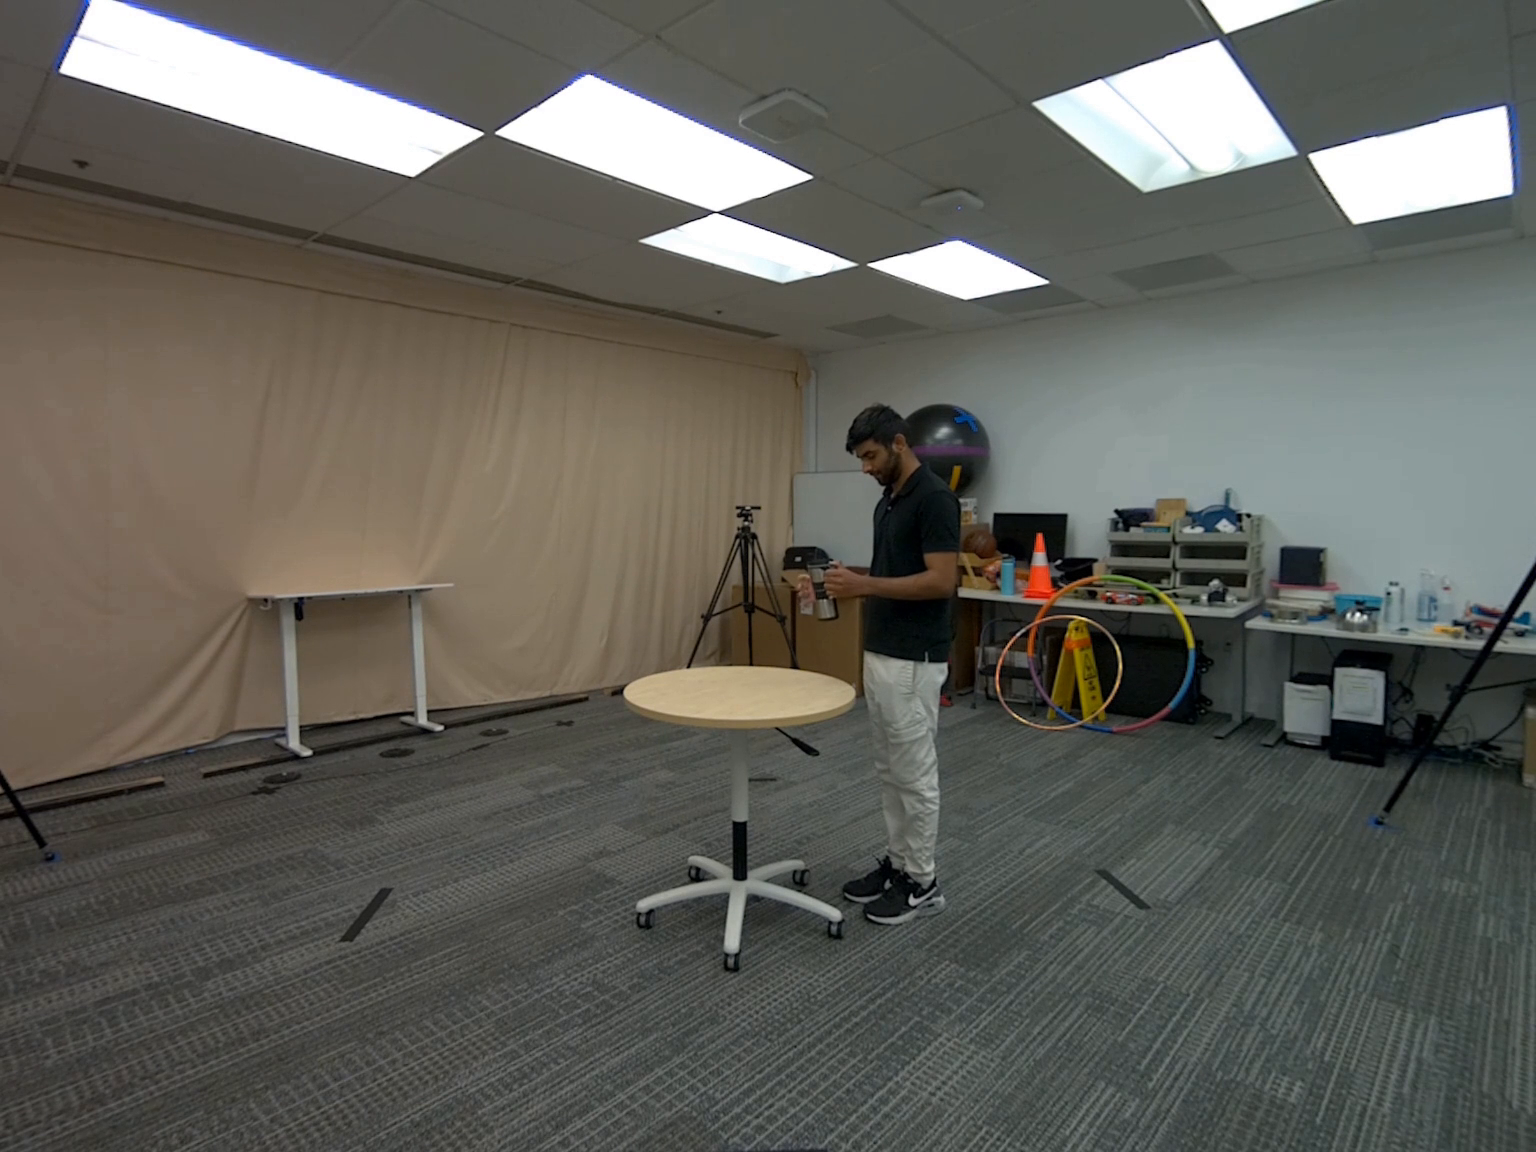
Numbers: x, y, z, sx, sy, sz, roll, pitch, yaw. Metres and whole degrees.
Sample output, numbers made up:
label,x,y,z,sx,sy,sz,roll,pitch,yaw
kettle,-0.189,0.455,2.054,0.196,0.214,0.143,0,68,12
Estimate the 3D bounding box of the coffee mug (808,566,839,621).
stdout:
label,x,y,z,sx,sy,sz,roll,pitch,yaw
coffee mug,0.201,0.049,2.782,0.086,0.203,0.125,-7,0,-27
